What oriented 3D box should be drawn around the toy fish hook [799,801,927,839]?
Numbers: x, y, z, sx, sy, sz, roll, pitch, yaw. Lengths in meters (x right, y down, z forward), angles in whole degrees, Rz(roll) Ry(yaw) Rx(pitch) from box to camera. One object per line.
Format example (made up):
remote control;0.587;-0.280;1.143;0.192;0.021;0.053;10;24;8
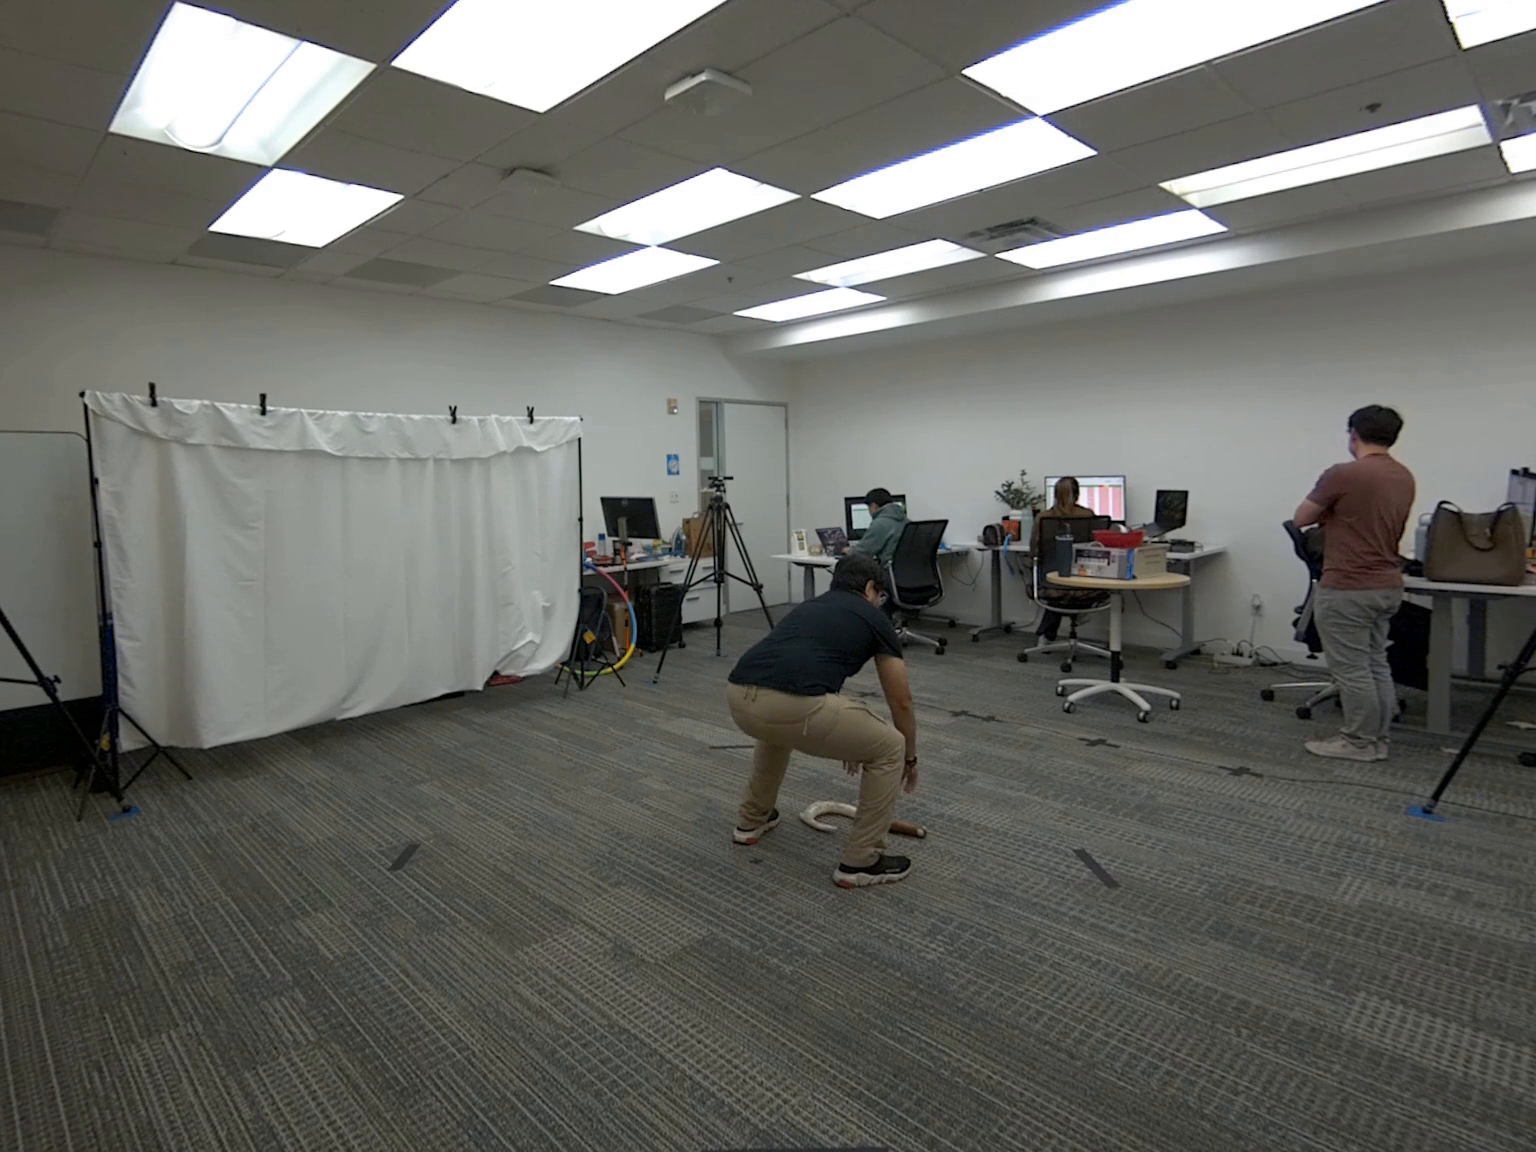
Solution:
toy fish hook;0.366;0.979;3.368;0.521;0.048;0.221;2;14;34
